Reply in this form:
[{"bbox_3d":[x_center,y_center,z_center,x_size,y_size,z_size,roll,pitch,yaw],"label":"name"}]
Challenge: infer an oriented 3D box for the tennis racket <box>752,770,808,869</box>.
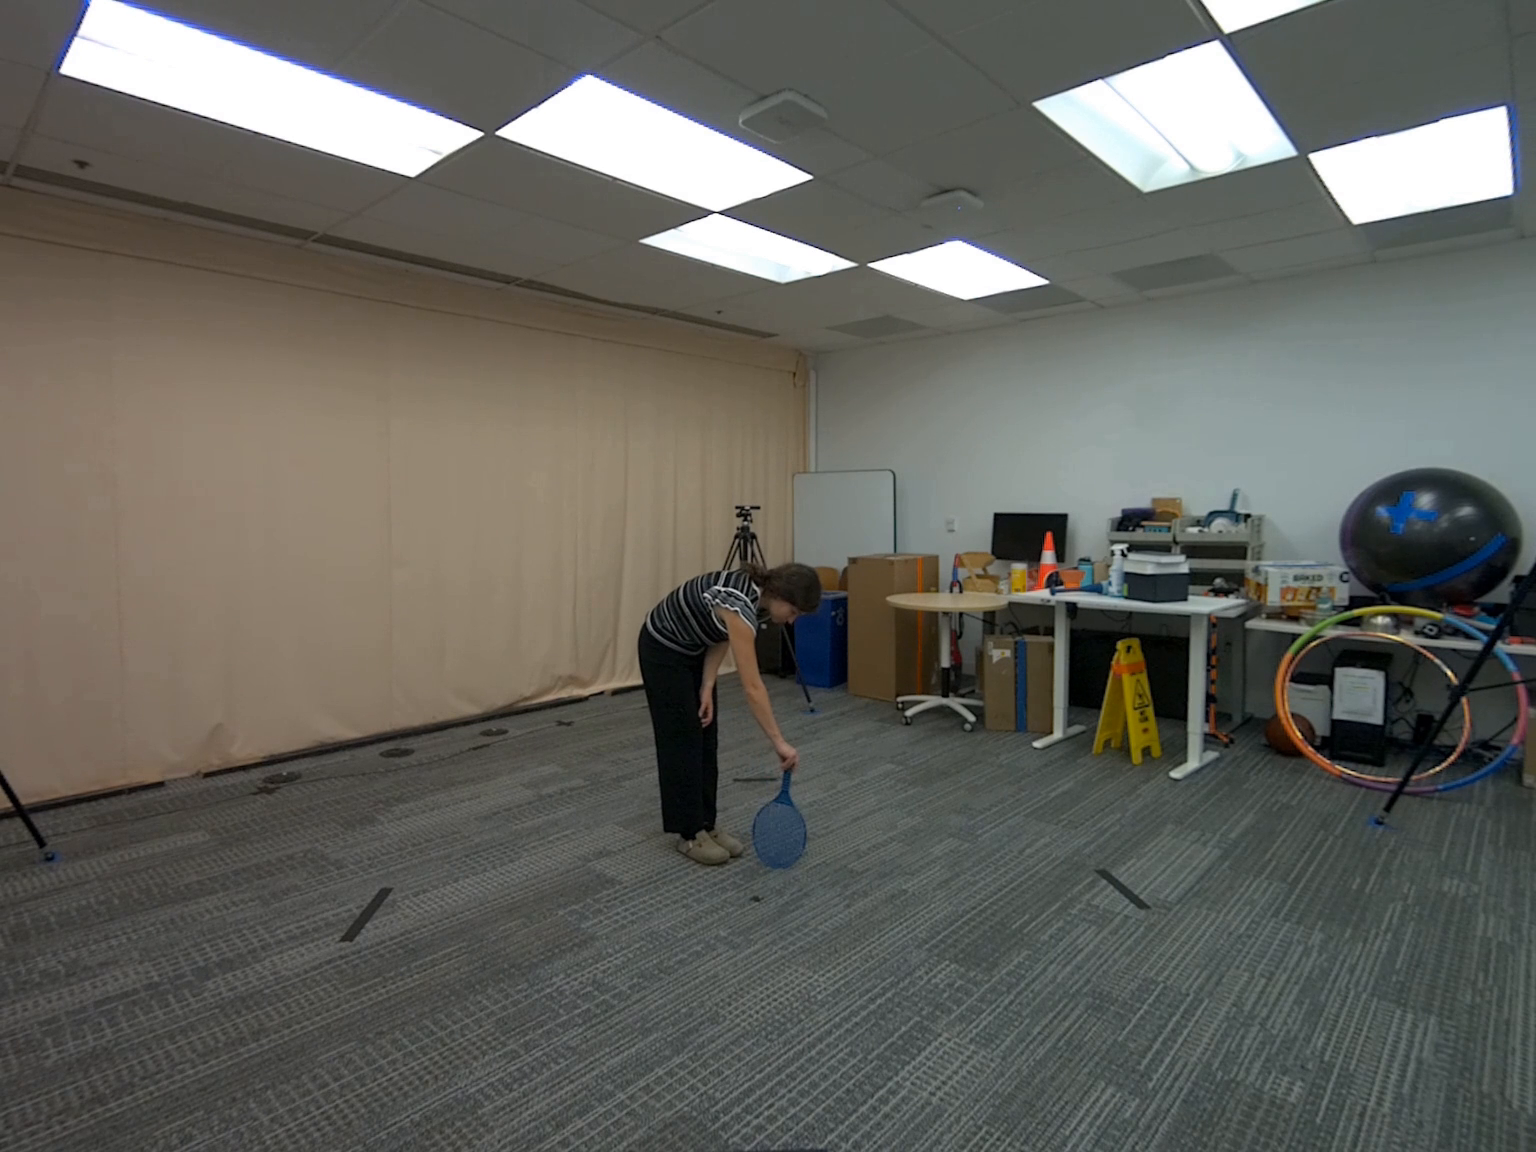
[{"bbox_3d":[0.052,0.905,3.219,0.218,0.431,0.031,8,6,18],"label":"tennis racket"}]
